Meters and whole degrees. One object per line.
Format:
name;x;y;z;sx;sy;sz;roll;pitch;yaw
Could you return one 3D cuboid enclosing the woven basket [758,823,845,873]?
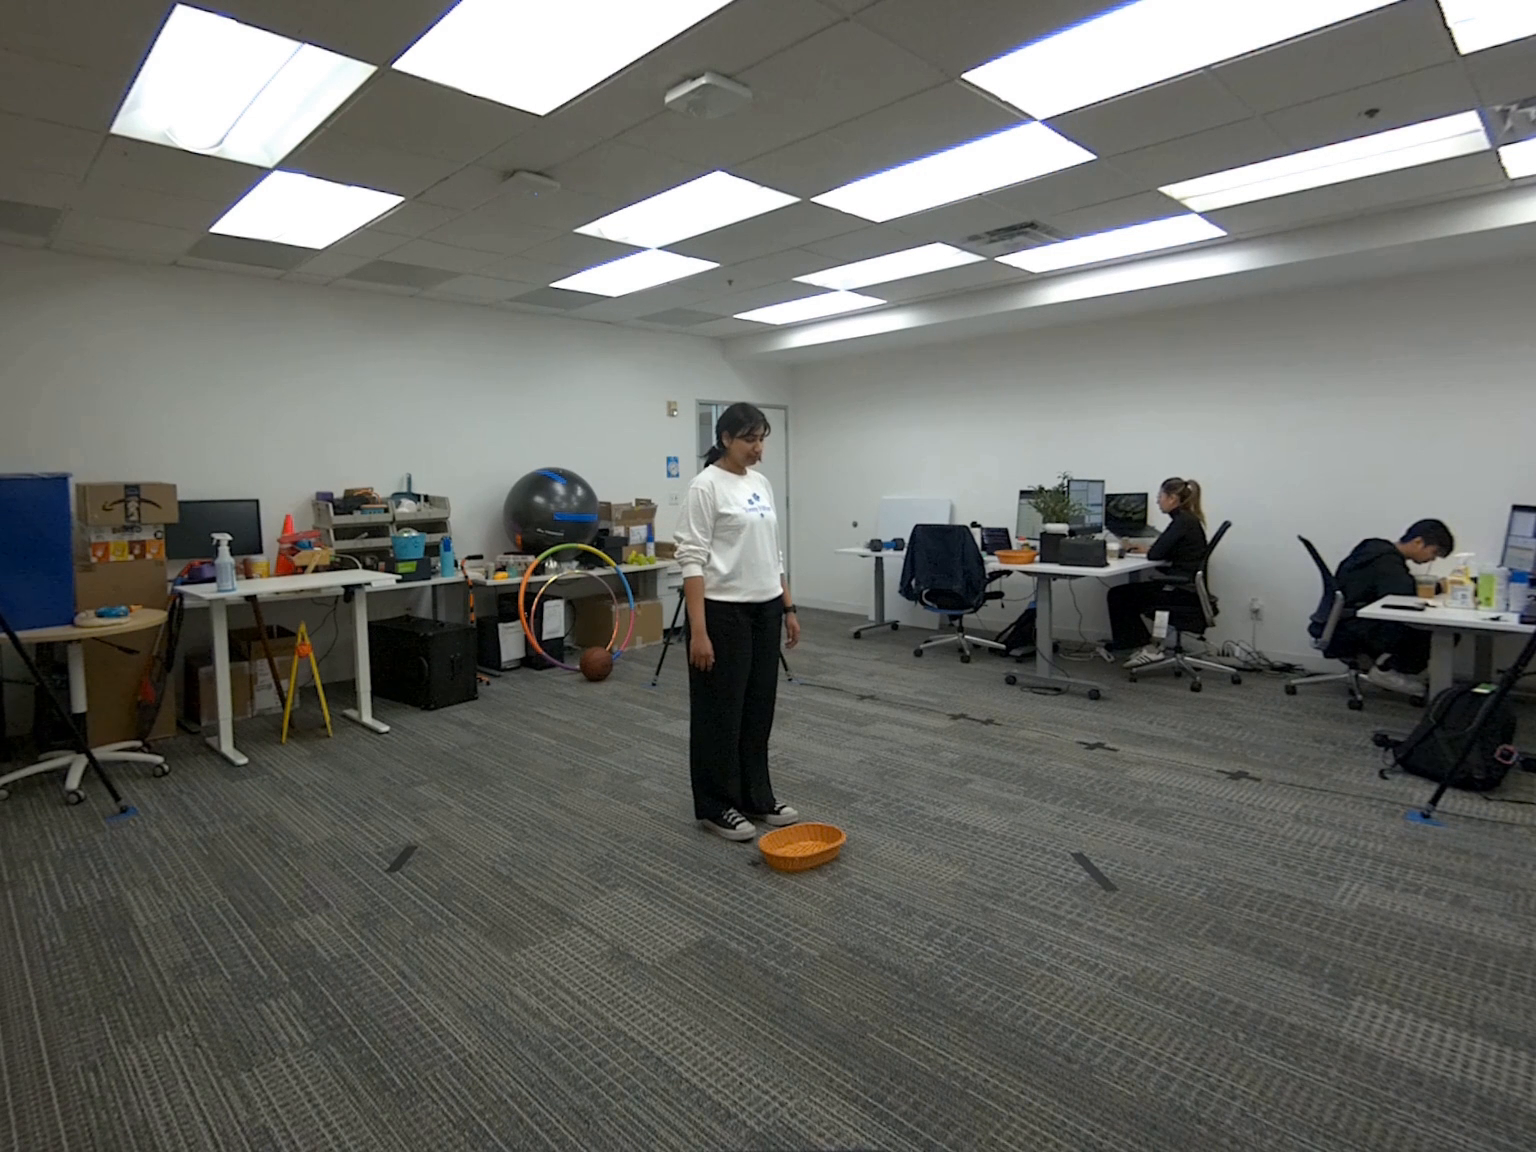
woven basket;0.122;0.996;3.157;0.342;0.073;0.259;-5;6;-32
